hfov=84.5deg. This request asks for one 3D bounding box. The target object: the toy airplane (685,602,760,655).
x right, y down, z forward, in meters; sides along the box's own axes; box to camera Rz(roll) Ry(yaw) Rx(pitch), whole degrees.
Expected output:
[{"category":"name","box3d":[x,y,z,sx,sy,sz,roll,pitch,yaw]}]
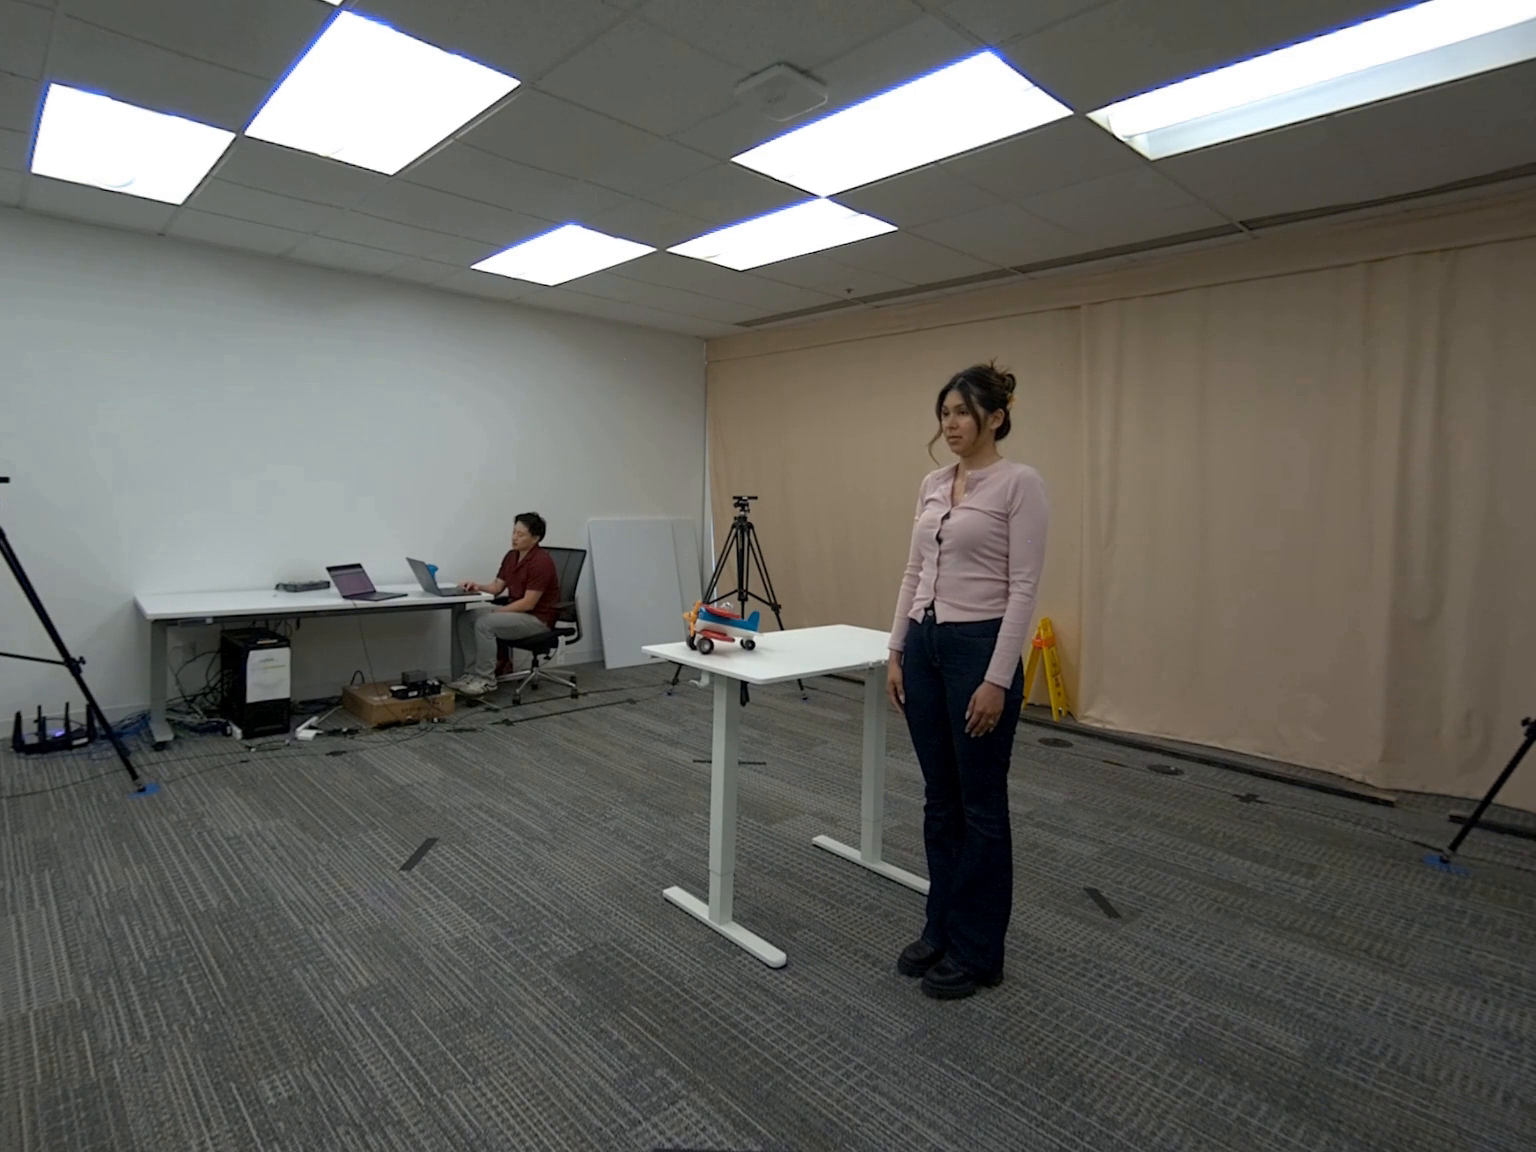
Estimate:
[{"category":"toy airplane","box3d":[-0.170,0.168,2.798,0.257,0.156,0.254,5,6,34]}]
